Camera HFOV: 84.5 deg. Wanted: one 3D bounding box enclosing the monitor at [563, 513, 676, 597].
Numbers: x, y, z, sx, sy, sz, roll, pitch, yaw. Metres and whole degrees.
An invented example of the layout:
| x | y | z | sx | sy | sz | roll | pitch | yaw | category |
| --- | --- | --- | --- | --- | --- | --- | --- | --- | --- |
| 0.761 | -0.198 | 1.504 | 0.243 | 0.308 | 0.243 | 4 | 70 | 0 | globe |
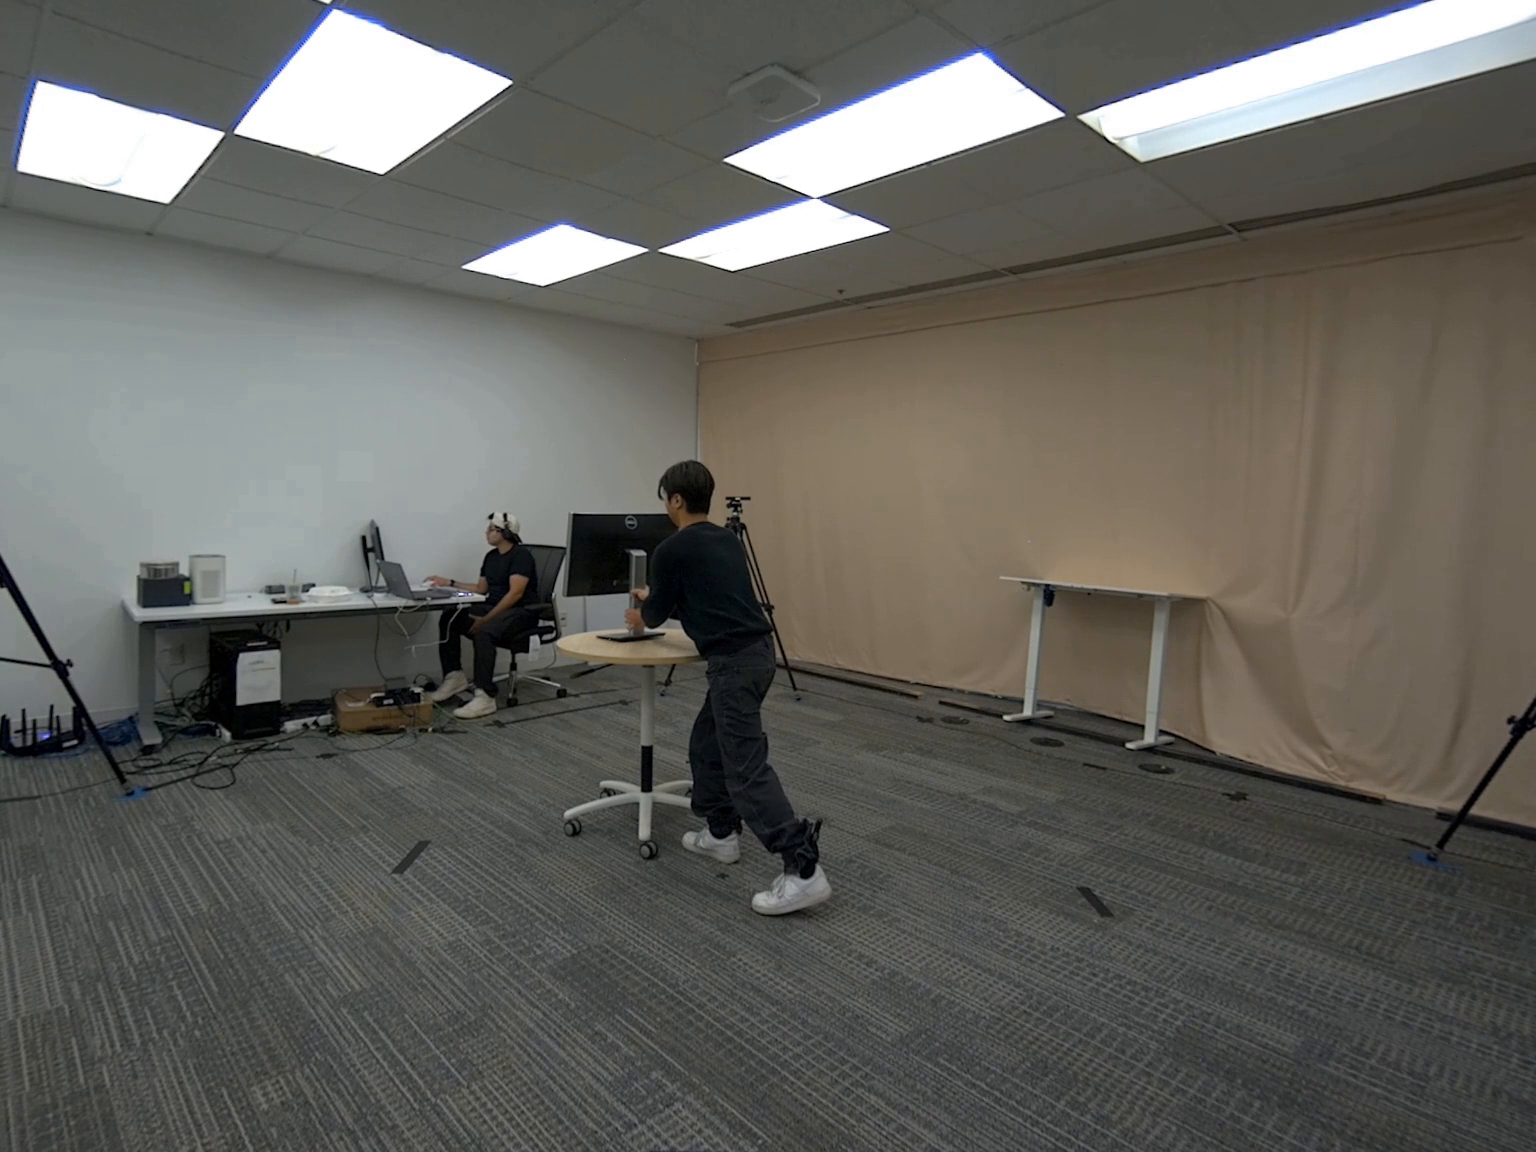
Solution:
| x | y | z | sx | sy | sz | roll | pitch | yaw | category |
| --- | --- | --- | --- | --- | --- | --- | --- | --- | --- |
| -0.610 | -0.009 | 3.652 | 0.518 | 0.517 | 0.178 | -5 | -2 | -43 | monitor |
